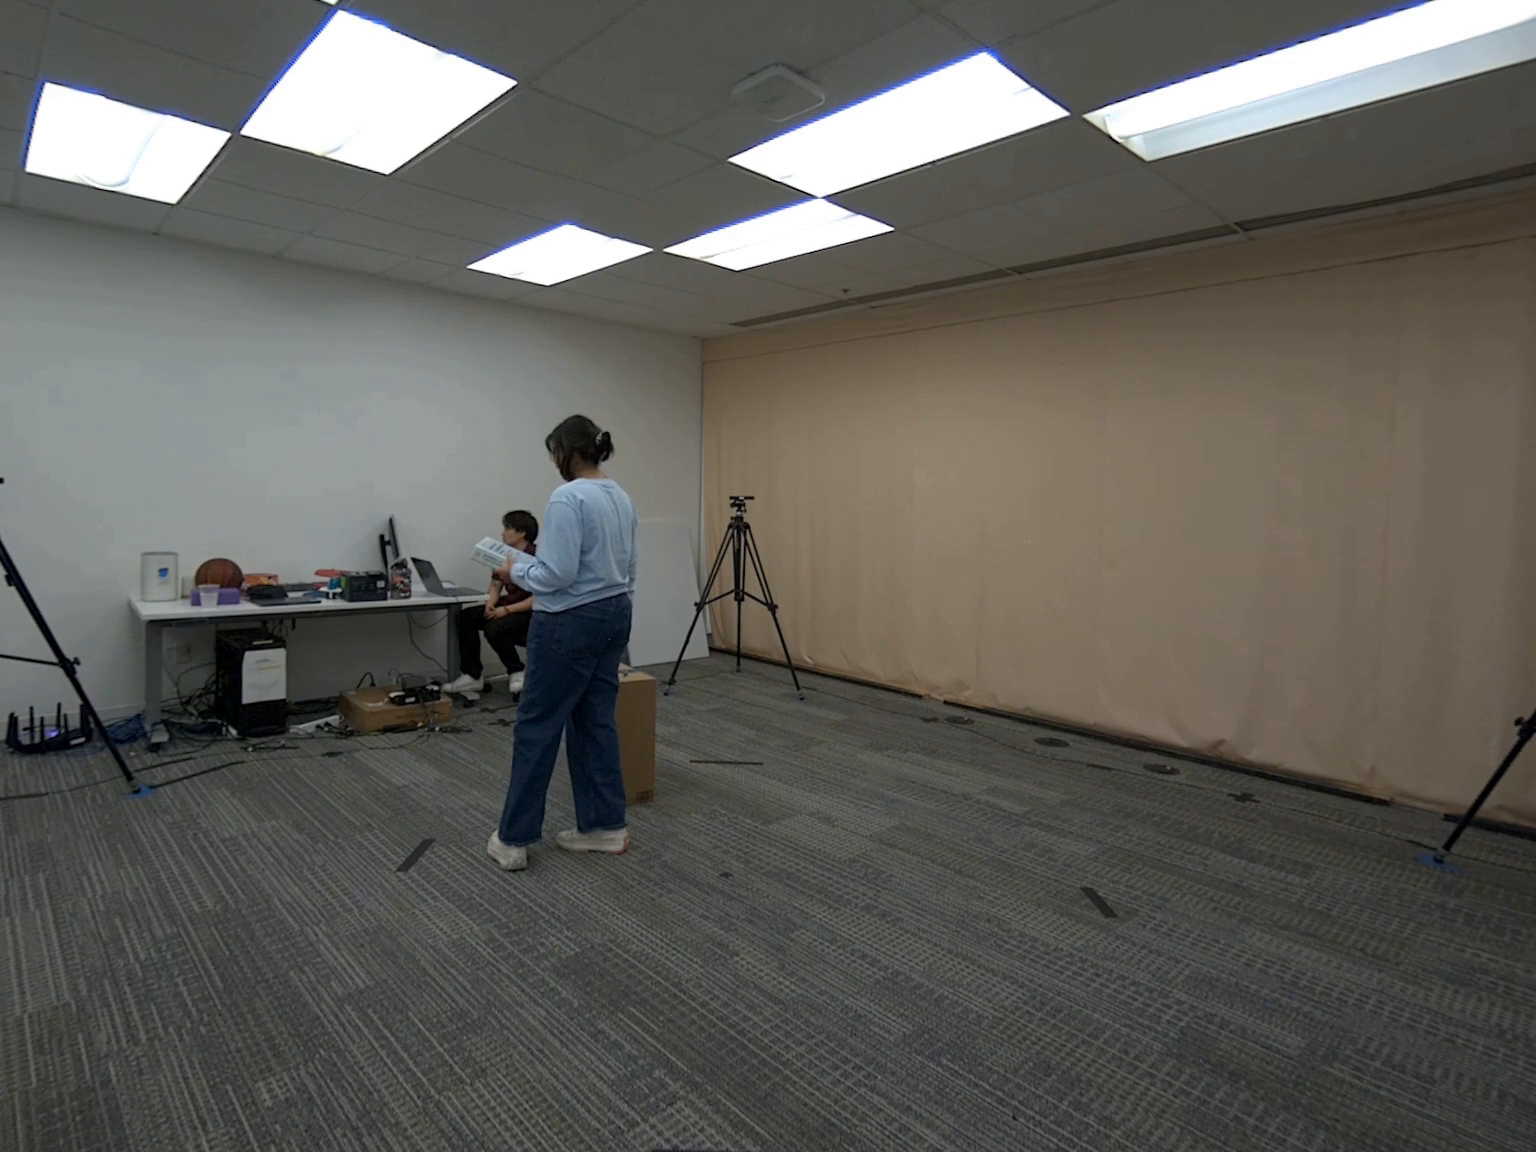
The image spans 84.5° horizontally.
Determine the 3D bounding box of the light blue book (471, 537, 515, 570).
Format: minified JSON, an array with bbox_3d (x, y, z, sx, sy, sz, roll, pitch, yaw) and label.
[{"bbox_3d":[-1.019,-0.058,3.312,0.259,0.059,0.193,24,9,-6],"label":"light blue book"}]
